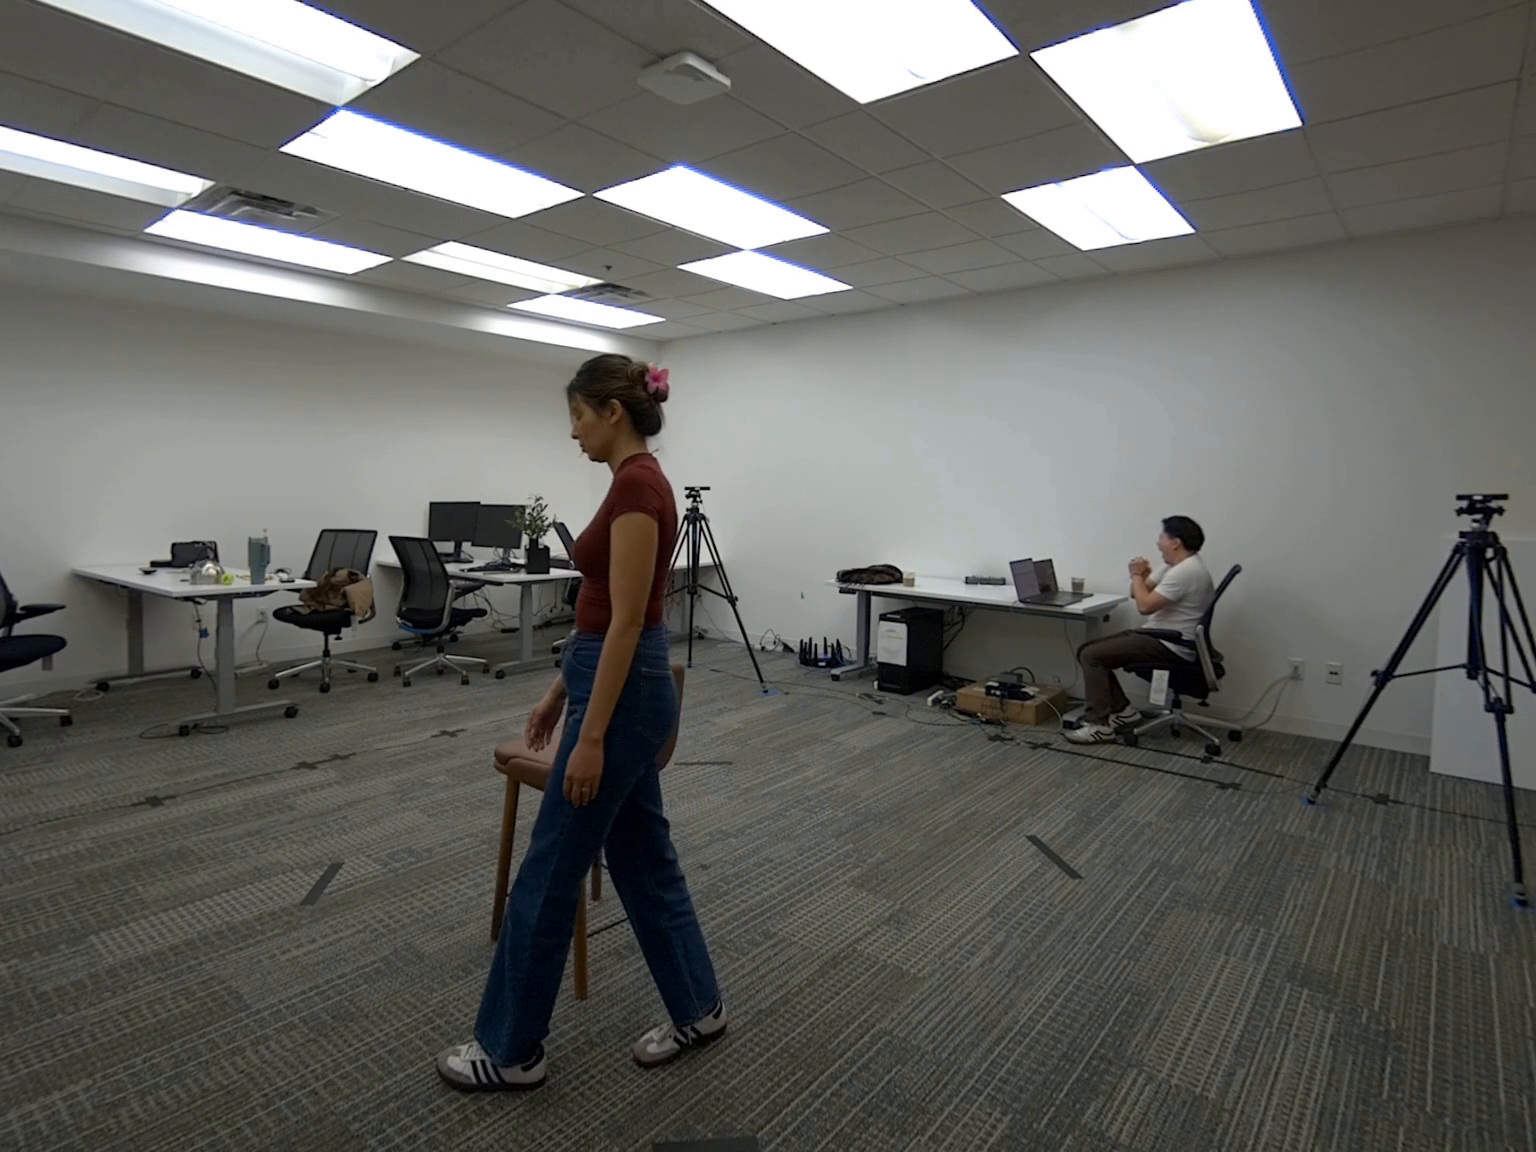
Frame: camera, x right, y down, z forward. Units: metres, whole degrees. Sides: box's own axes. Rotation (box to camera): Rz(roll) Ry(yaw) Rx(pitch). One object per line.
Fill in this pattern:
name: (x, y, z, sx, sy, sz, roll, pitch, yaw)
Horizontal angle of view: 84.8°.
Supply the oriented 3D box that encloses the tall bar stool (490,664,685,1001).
tall bar stool: (-0.546, 0.678, 2.552, 0.484, 0.886, 0.443, 6, 6, 43)
